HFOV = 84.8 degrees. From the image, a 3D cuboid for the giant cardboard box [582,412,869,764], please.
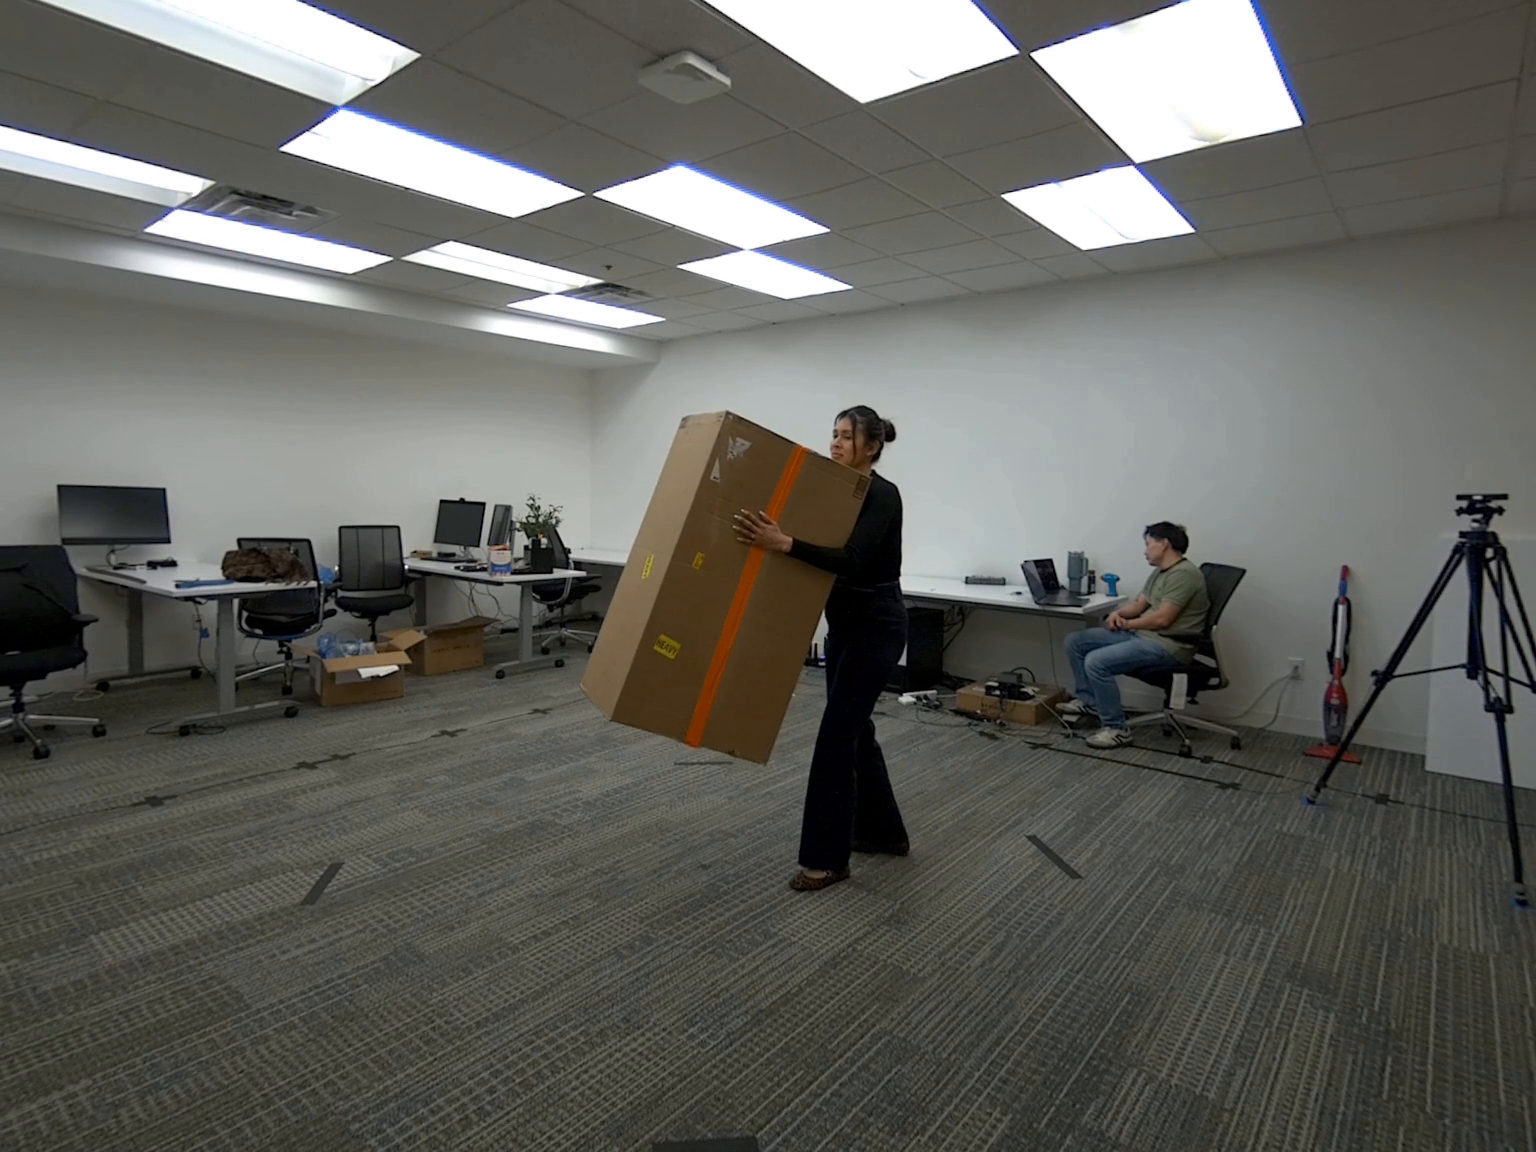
[{"bbox_3d":[-0.166,0.028,2.912,0.561,1.028,0.438,22,-4,-24],"label":"giant cardboard box"}]
